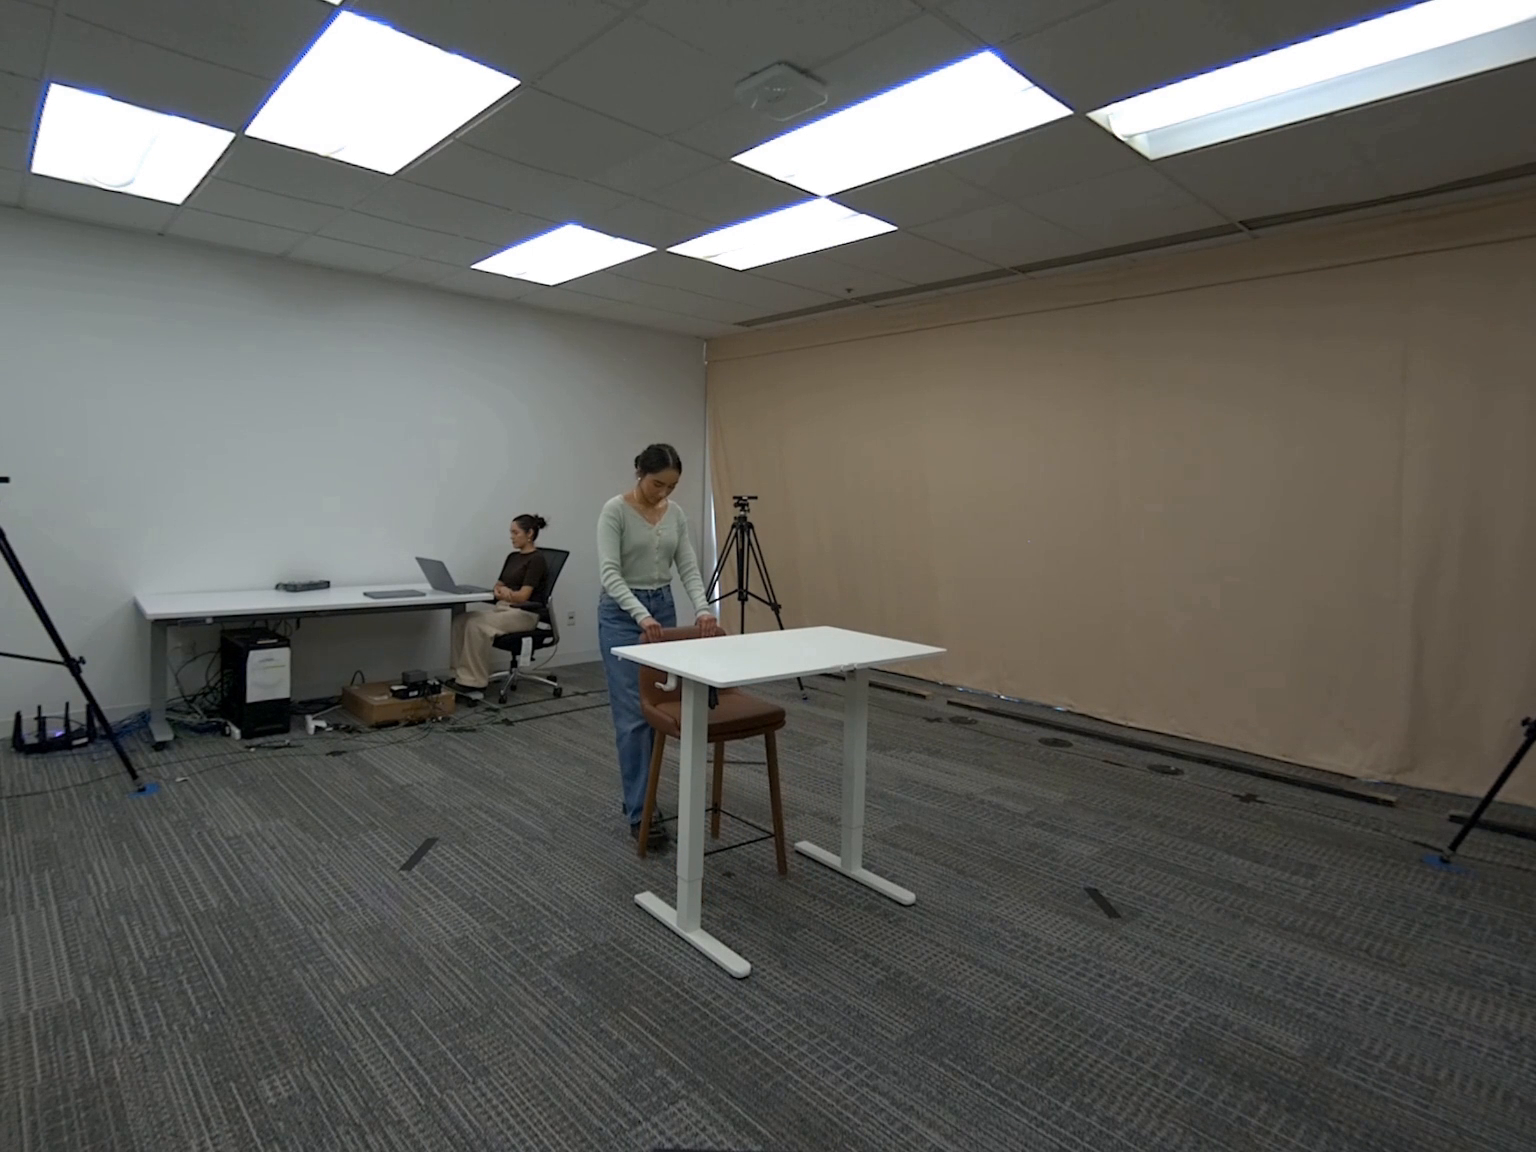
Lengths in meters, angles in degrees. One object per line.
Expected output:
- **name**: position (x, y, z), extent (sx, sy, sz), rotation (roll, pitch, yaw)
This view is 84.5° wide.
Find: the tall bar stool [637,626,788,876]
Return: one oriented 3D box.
- **tall bar stool**: position (-0.227, 0.657, 3.160), extent (0.446, 0.889, 0.478), rotation (-2, 1, -35)
